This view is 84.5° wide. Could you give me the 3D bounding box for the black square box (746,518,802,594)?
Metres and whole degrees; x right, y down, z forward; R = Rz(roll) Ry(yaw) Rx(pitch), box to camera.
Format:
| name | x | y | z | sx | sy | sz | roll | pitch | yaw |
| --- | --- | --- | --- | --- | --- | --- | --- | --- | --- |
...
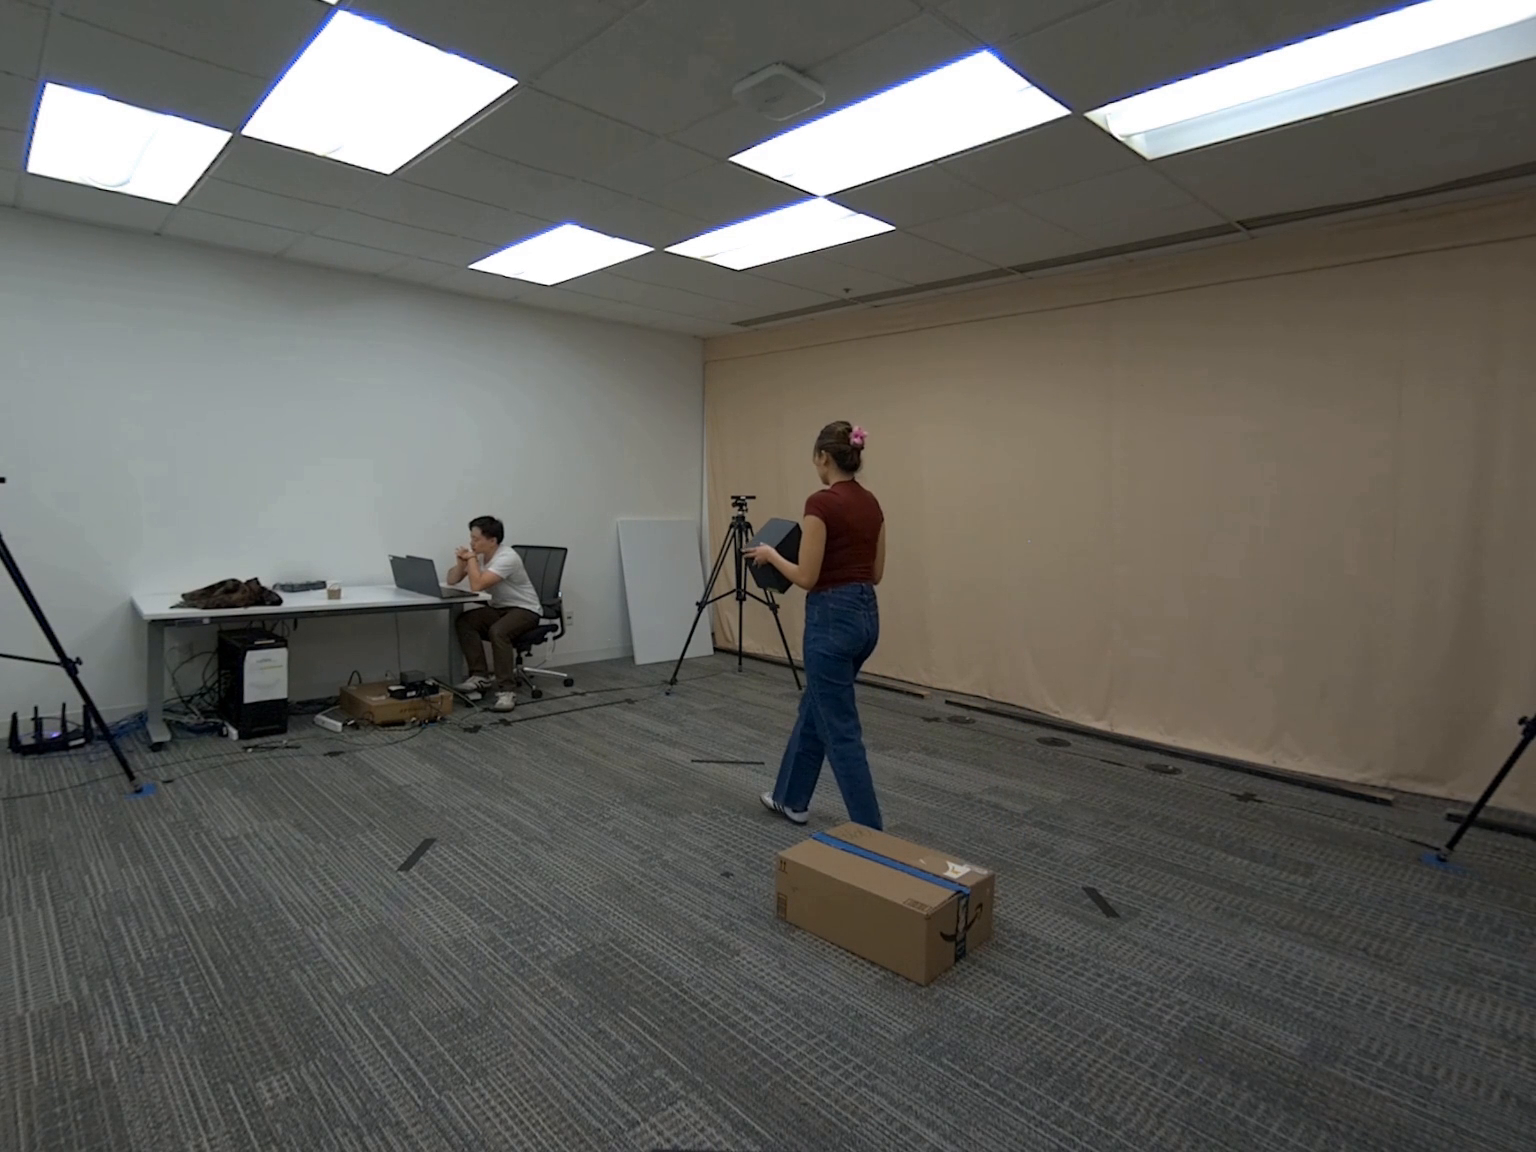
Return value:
| name | x | y | z | sx | sy | sz | roll | pitch | yaw |
| --- | --- | --- | --- | --- | --- | --- | --- | --- | --- |
| black square box | 0.036 | -0.090 | 3.576 | 0.160 | 0.211 | 0.228 | 13 | 50 | 44 |
